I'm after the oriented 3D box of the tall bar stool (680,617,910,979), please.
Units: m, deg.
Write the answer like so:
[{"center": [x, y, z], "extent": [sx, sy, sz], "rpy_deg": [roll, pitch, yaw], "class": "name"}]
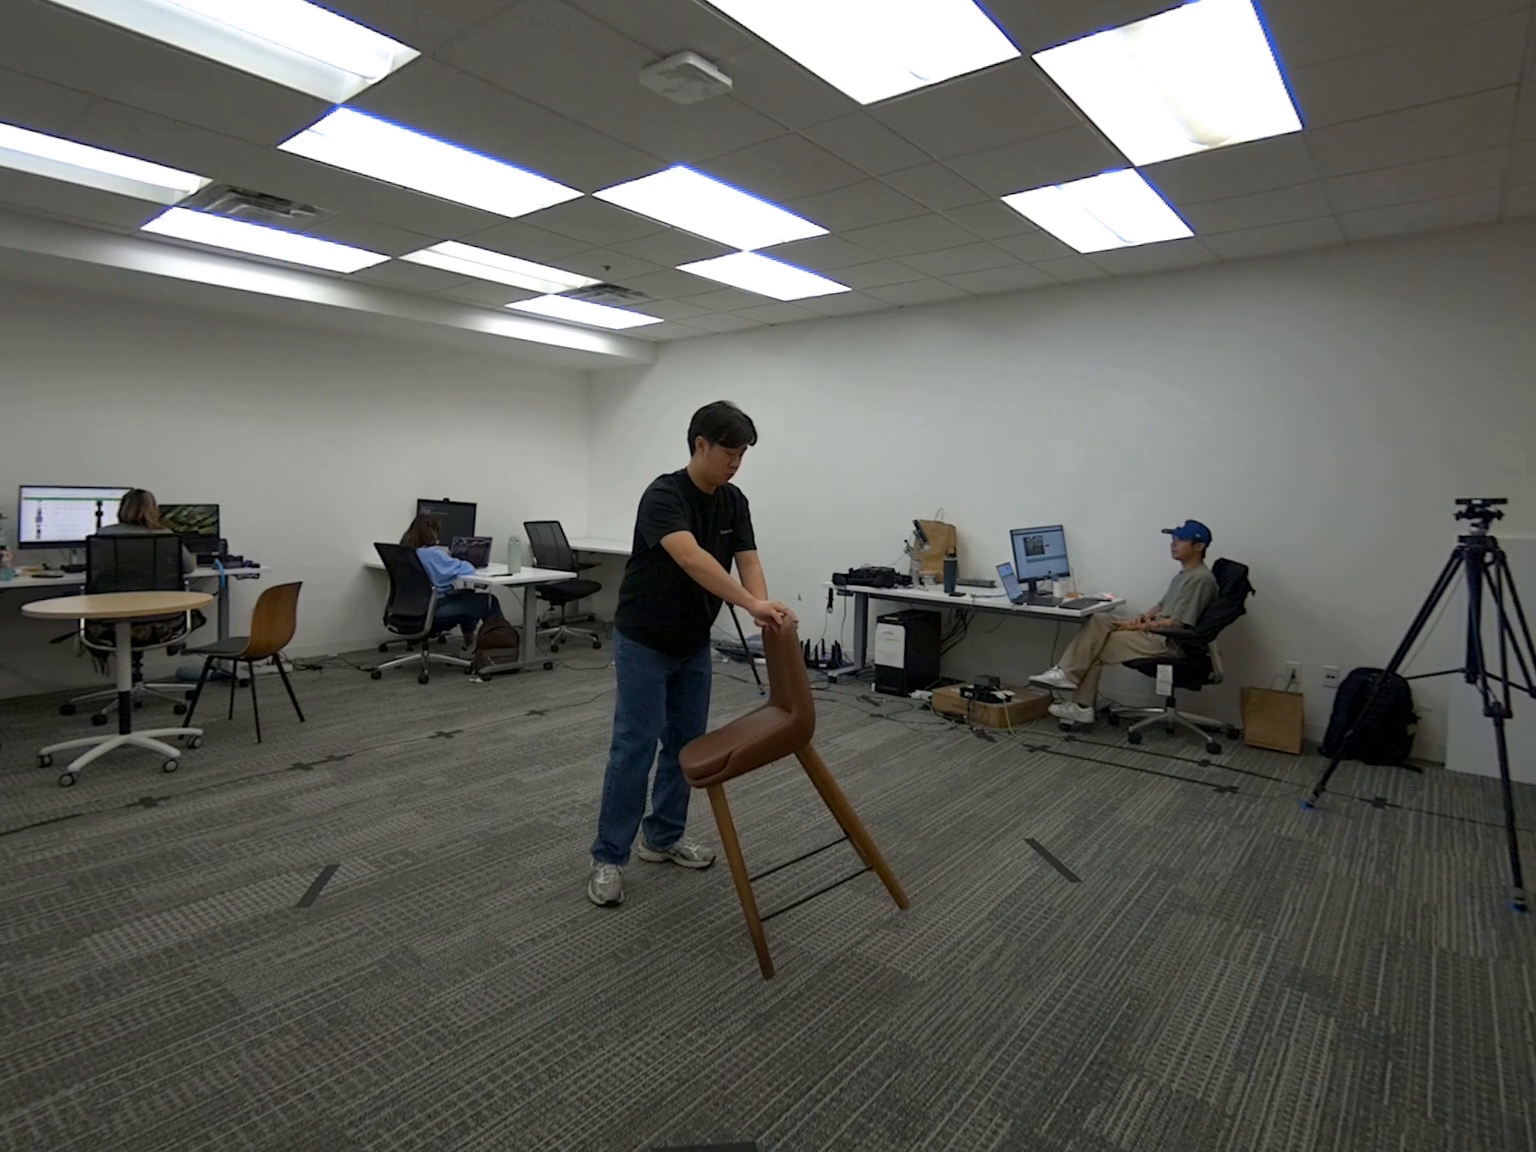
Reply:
[{"center": [0.002, 0.618, 2.548], "extent": [0.466, 0.893, 0.457], "rpy_deg": [-21, -2, -6], "class": "tall bar stool"}]
